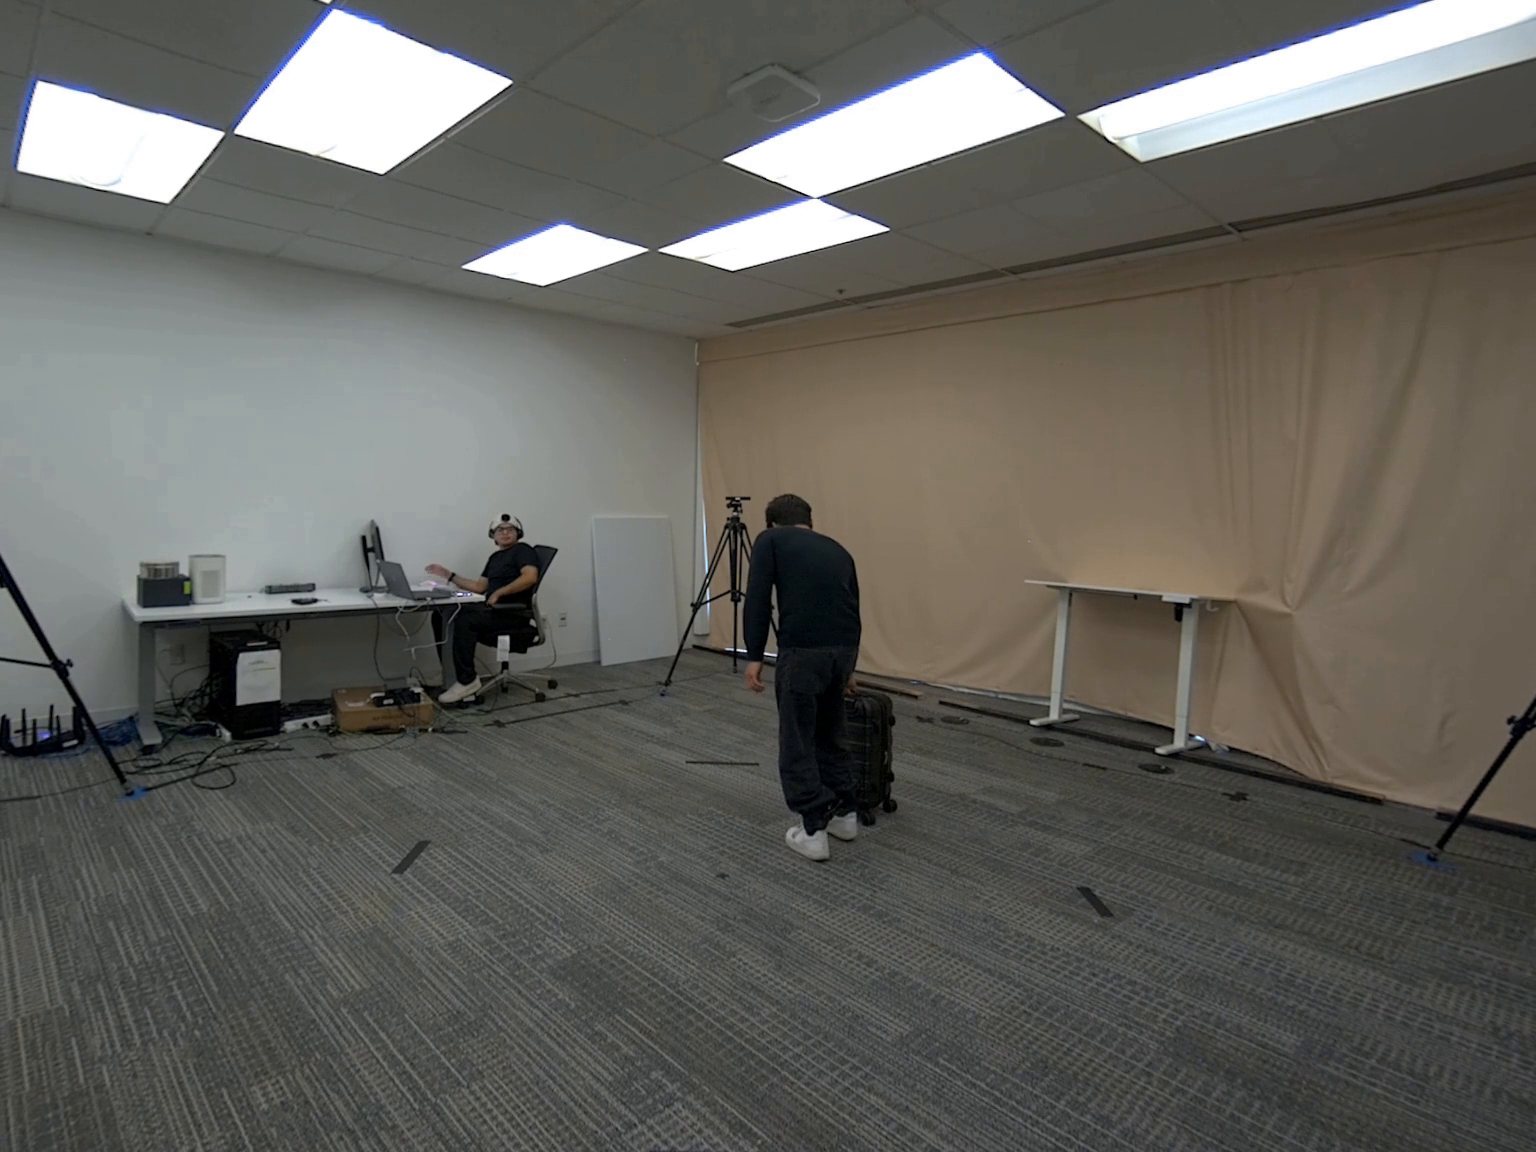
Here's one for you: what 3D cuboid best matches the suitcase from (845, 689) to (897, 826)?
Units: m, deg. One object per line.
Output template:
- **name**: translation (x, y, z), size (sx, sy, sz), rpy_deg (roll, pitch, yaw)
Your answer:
- **suitcase**: translation (0.362, 0.784, 3.820), size (0.384, 0.549, 0.243), rpy_deg (2, 2, 37)
